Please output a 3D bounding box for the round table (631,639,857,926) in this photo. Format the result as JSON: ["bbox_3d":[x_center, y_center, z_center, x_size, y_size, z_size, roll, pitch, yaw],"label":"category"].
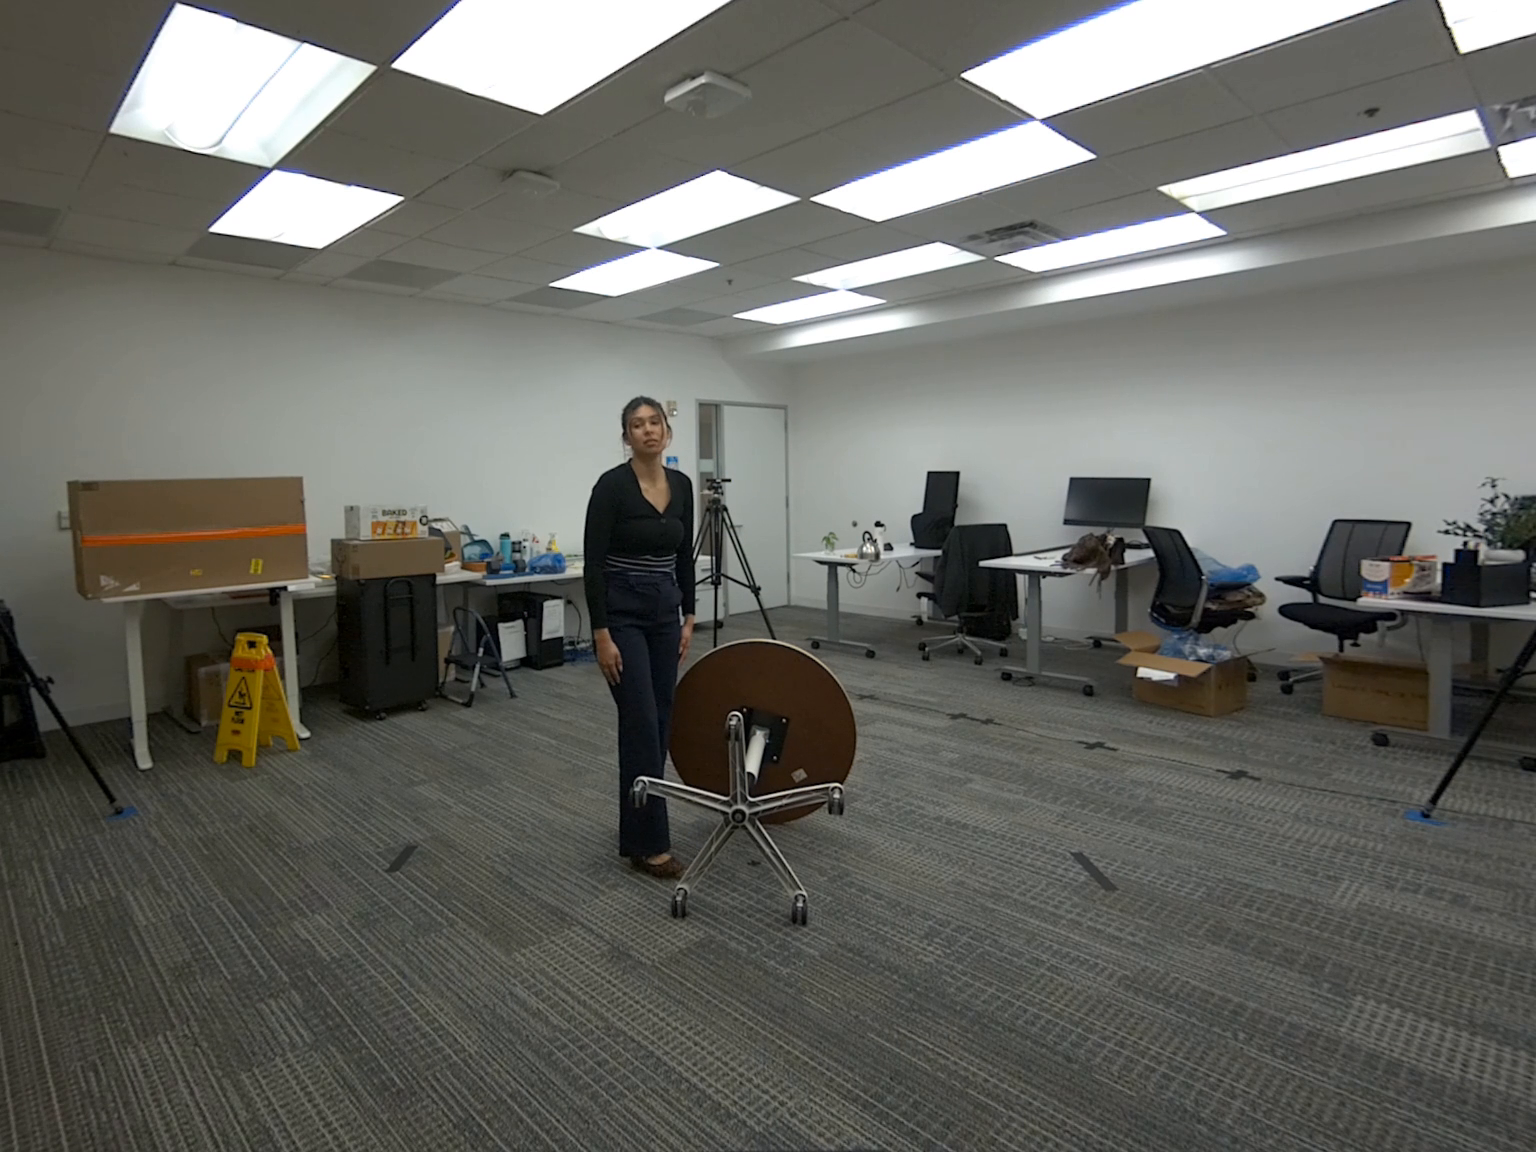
[{"bbox_3d":[-0.063,0.716,3.033,0.769,0.758,0.795,0,9,6],"label":"round table"}]
